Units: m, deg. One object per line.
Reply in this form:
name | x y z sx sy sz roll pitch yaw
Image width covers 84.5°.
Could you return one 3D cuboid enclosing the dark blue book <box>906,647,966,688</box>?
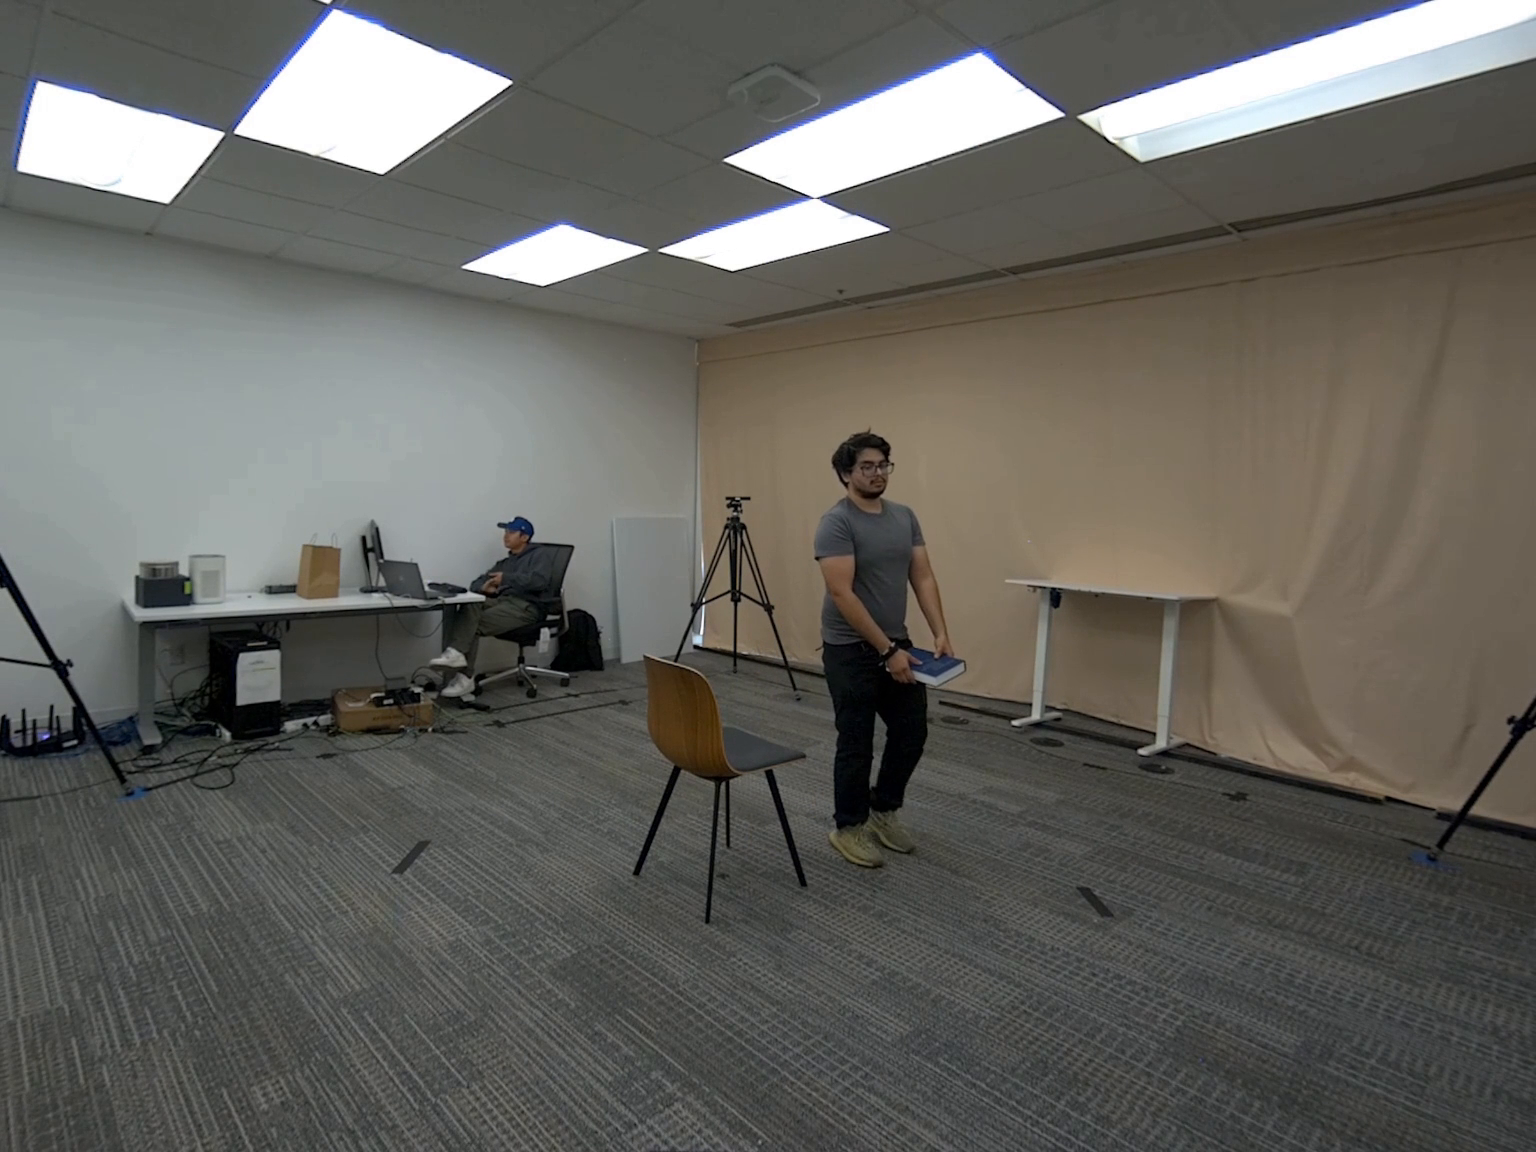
dark blue book | 0.574 0.333 3.052 0.161 0.044 0.251 -21 19 -32
